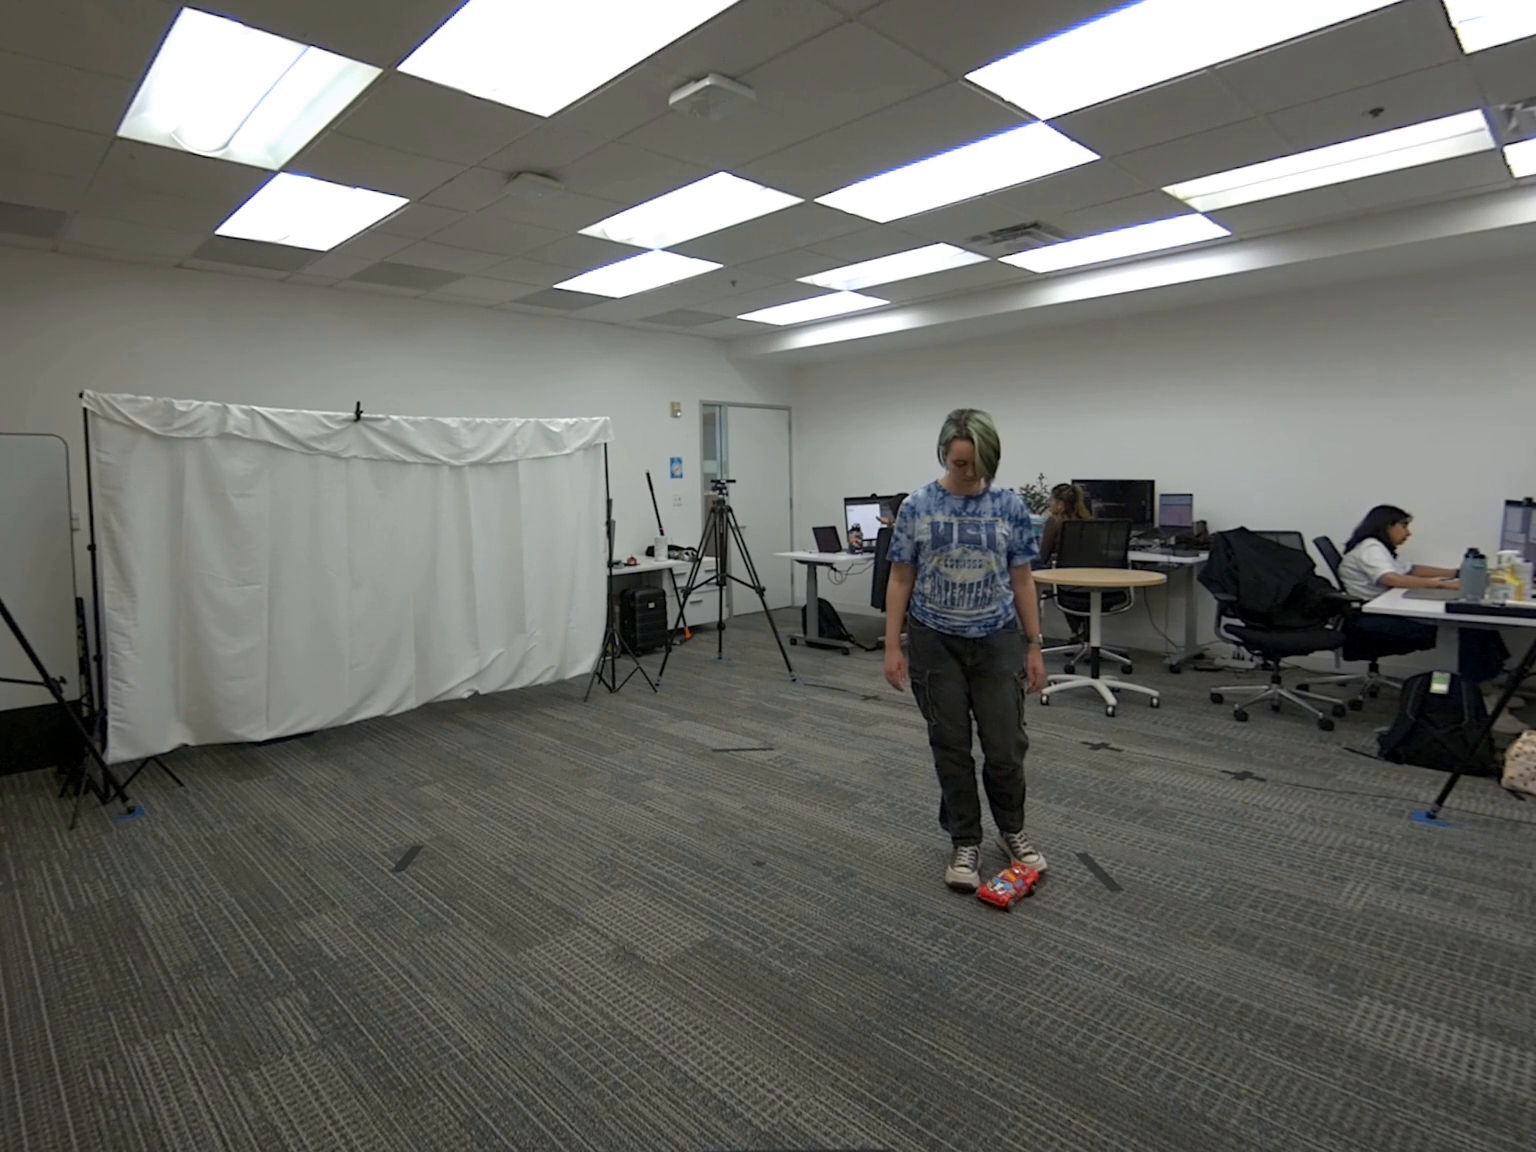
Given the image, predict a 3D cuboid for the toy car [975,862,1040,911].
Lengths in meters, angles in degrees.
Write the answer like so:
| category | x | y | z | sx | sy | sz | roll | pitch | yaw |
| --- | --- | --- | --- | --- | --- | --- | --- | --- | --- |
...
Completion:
| category | x | y | z | sx | sy | sz | roll | pitch | yaw |
| --- | --- | --- | --- | --- | --- | --- | --- | --- | --- |
| toy car | 0.804 | 1.029 | 2.832 | 0.250 | 0.082 | 0.134 | -22 | 19 | -41 |
